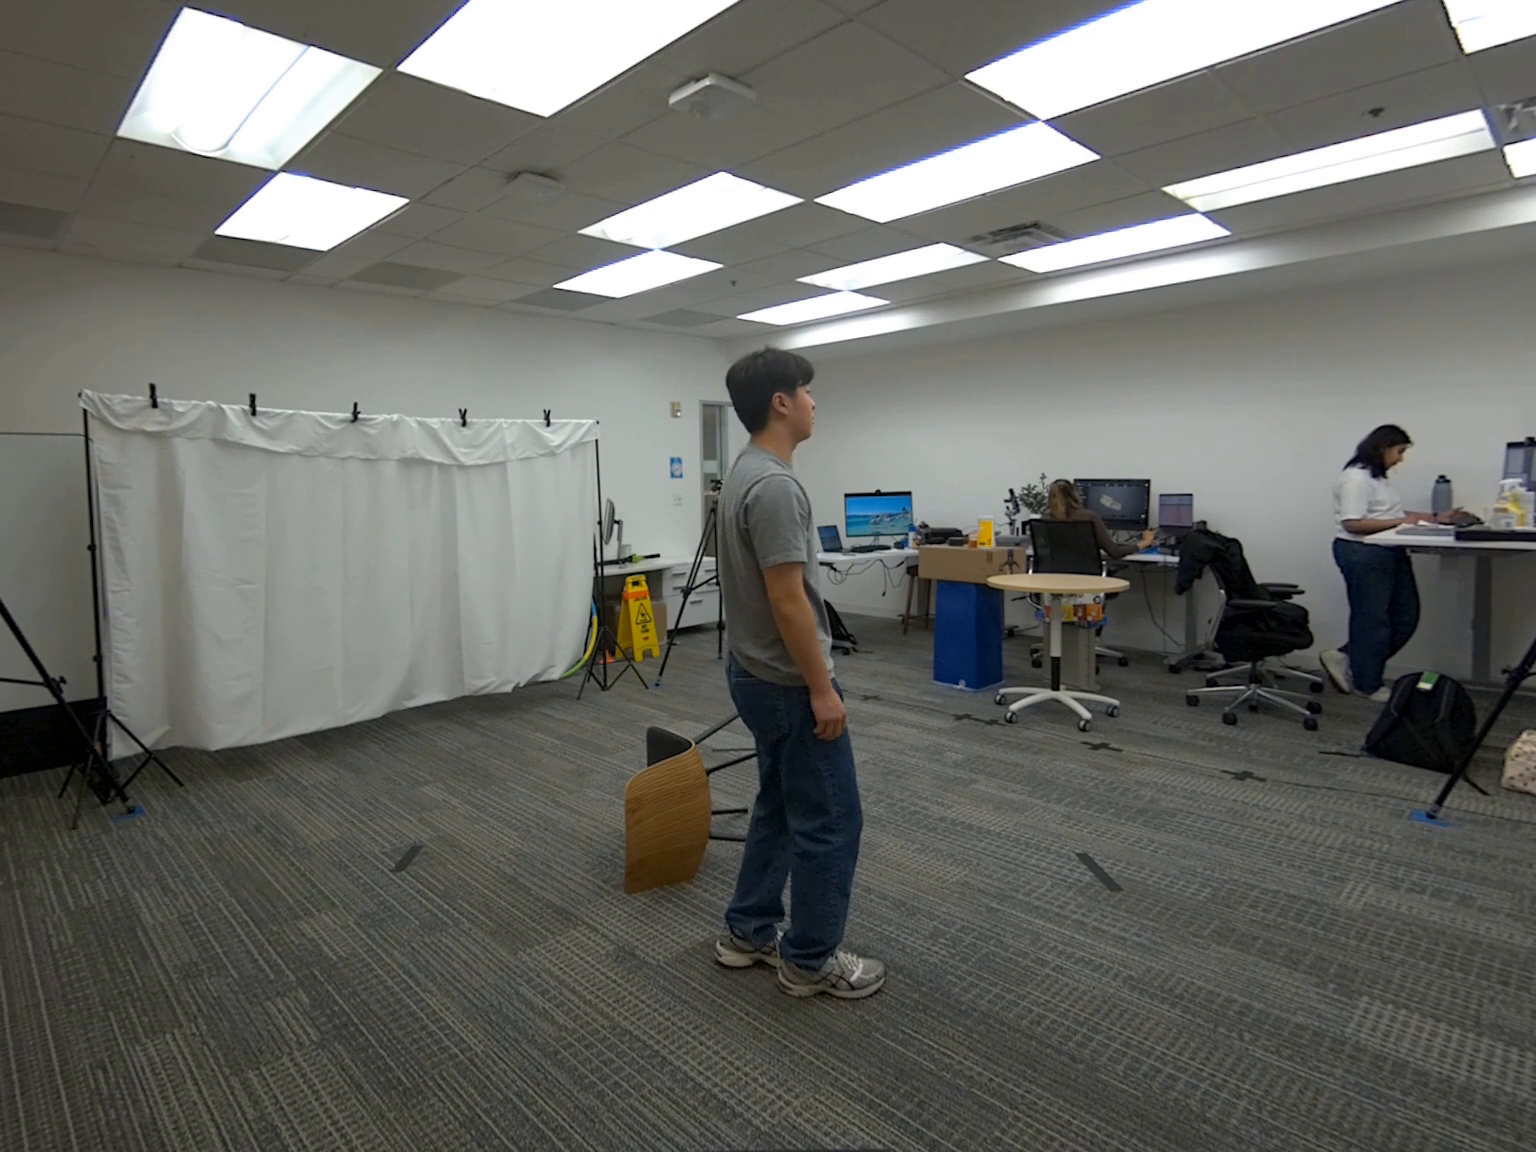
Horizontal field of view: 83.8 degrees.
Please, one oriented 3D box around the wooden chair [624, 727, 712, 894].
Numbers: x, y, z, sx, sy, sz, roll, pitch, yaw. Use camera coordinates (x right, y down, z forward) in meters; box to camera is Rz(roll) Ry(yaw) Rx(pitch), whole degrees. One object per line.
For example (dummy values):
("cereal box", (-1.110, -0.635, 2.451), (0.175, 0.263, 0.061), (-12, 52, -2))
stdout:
("wooden chair", (-0.294, 0.815, 3.160), (0.854, 0.476, 0.539), (-6, 7, -40))
